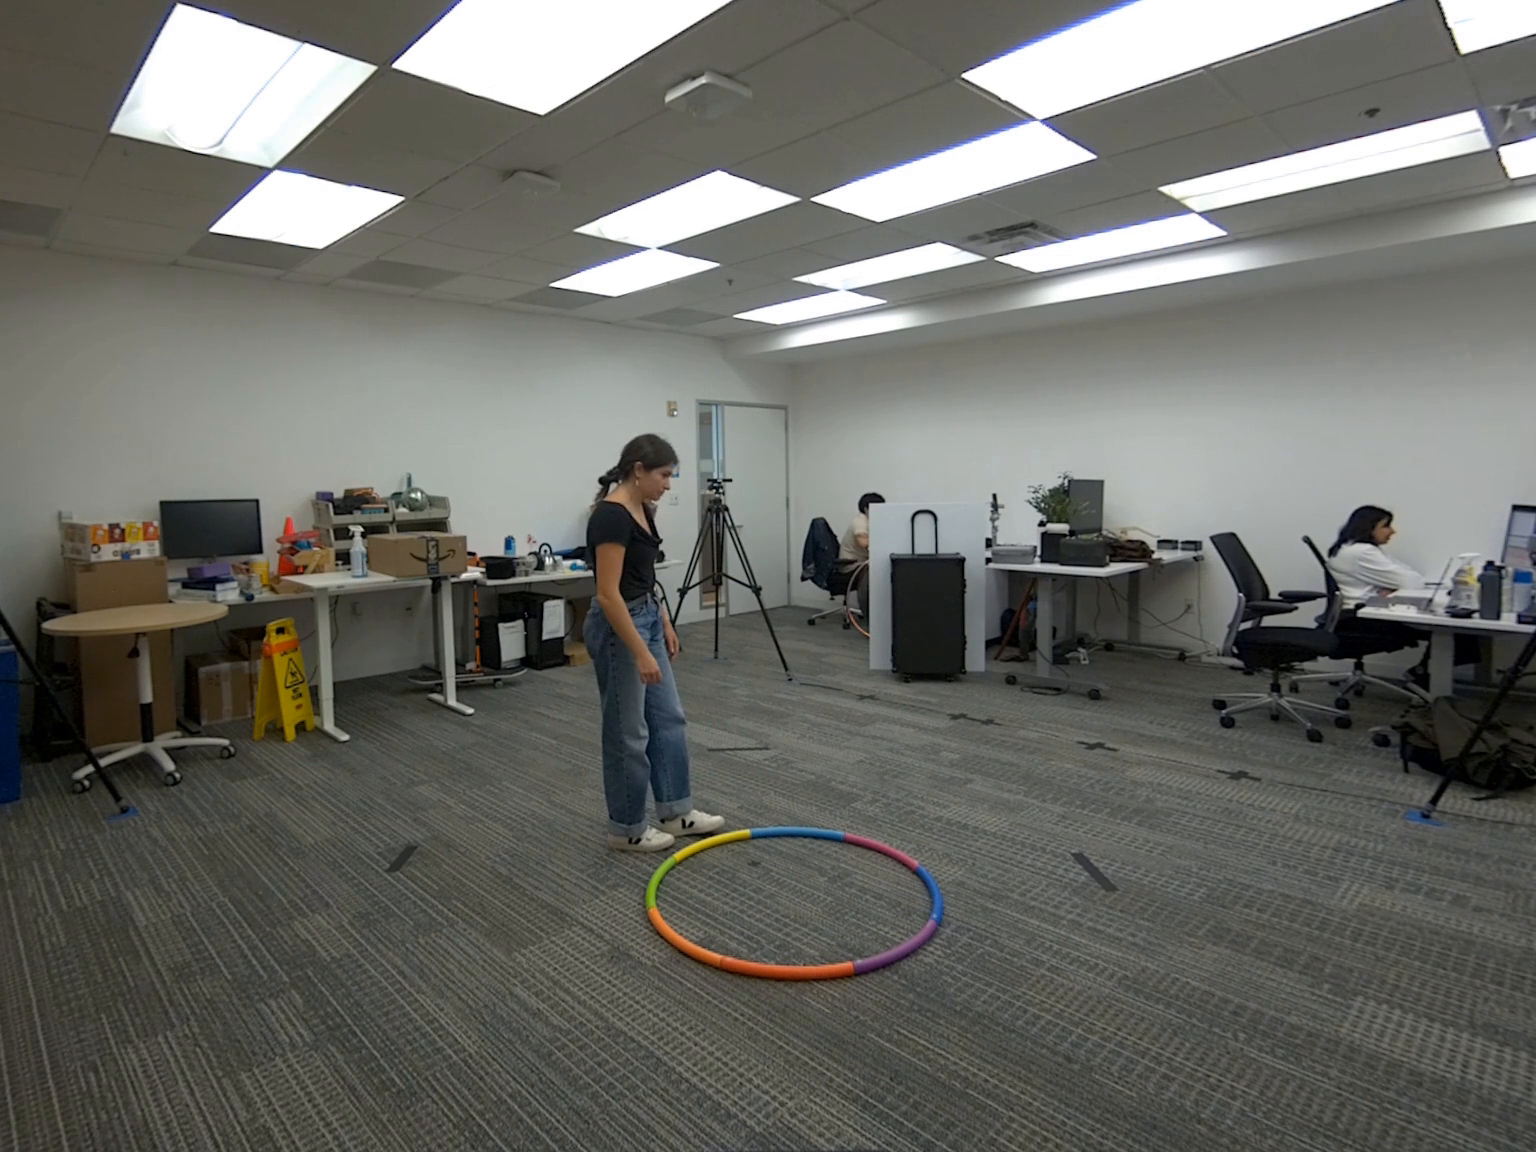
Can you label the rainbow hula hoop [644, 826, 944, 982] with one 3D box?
[{"bbox_3d":[0.081,1.043,2.868,0.978,0.035,0.984,-1,7,-2],"label":"rainbow hula hoop"}]
